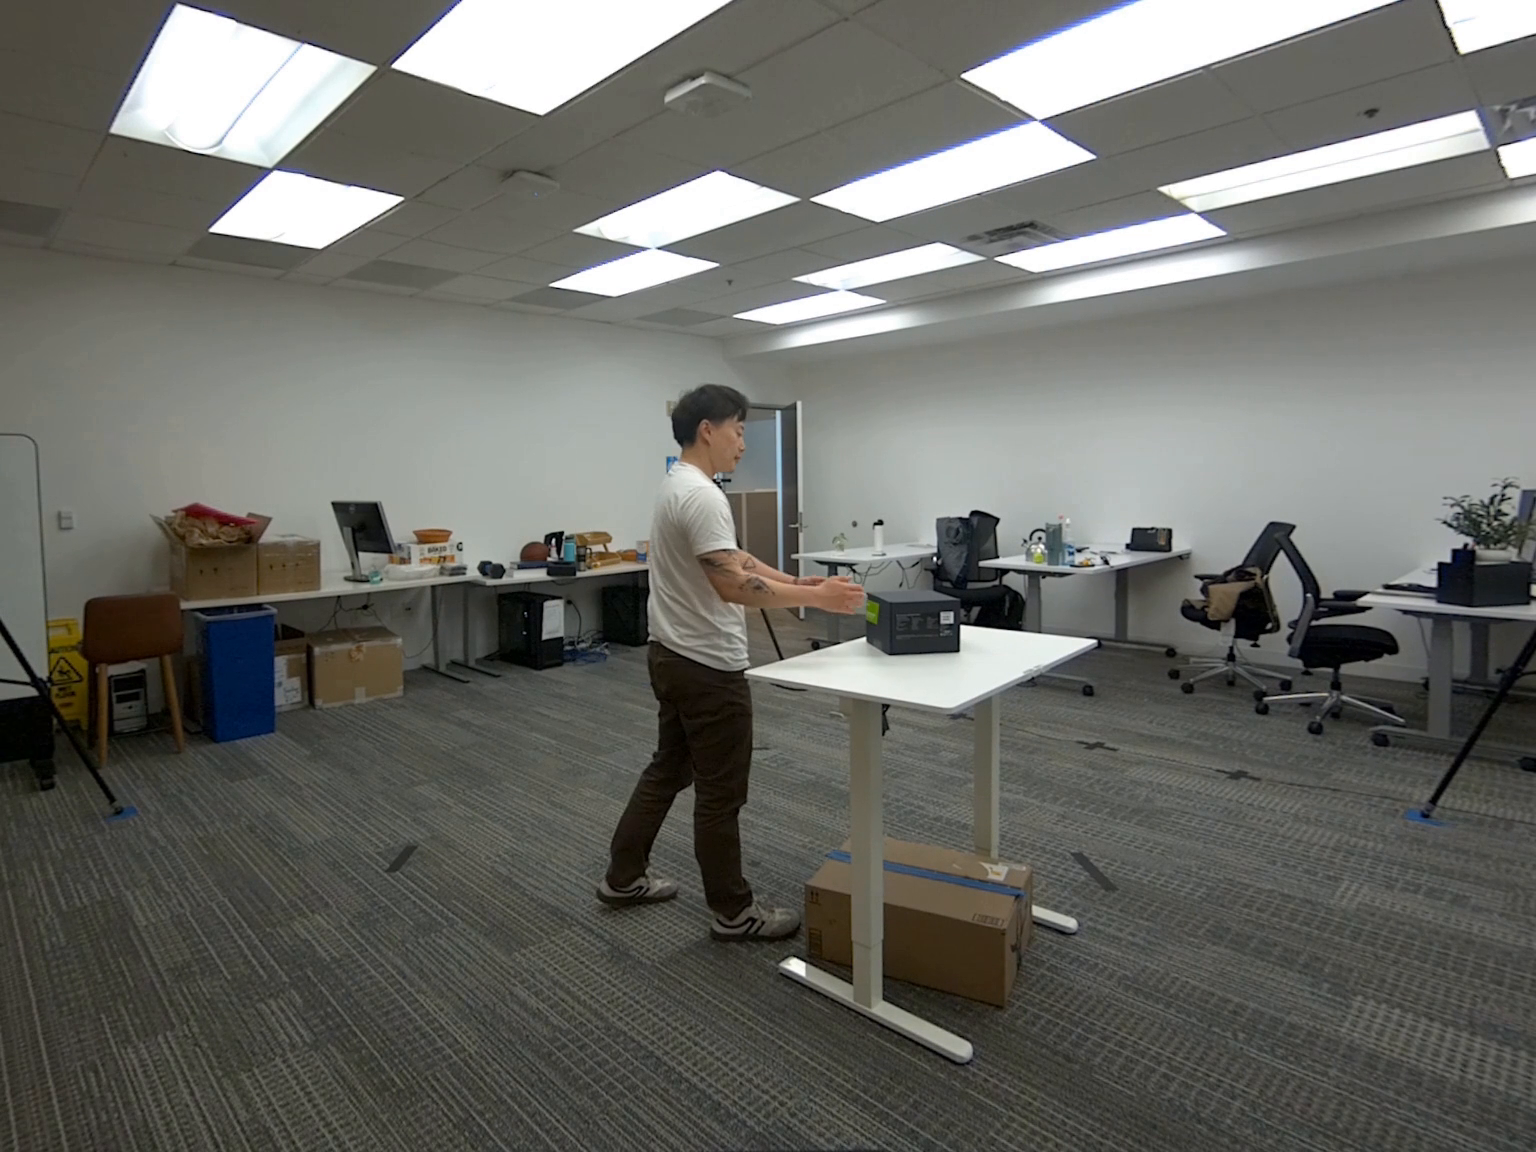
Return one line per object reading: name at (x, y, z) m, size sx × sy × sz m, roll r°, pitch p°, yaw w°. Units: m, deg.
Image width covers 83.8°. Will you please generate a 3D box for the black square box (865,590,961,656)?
black square box at (0.437, 0.134, 2.577) m, size 0.215 × 0.155 × 0.231 m, roll -2°, pitch 5°, yaw -12°
